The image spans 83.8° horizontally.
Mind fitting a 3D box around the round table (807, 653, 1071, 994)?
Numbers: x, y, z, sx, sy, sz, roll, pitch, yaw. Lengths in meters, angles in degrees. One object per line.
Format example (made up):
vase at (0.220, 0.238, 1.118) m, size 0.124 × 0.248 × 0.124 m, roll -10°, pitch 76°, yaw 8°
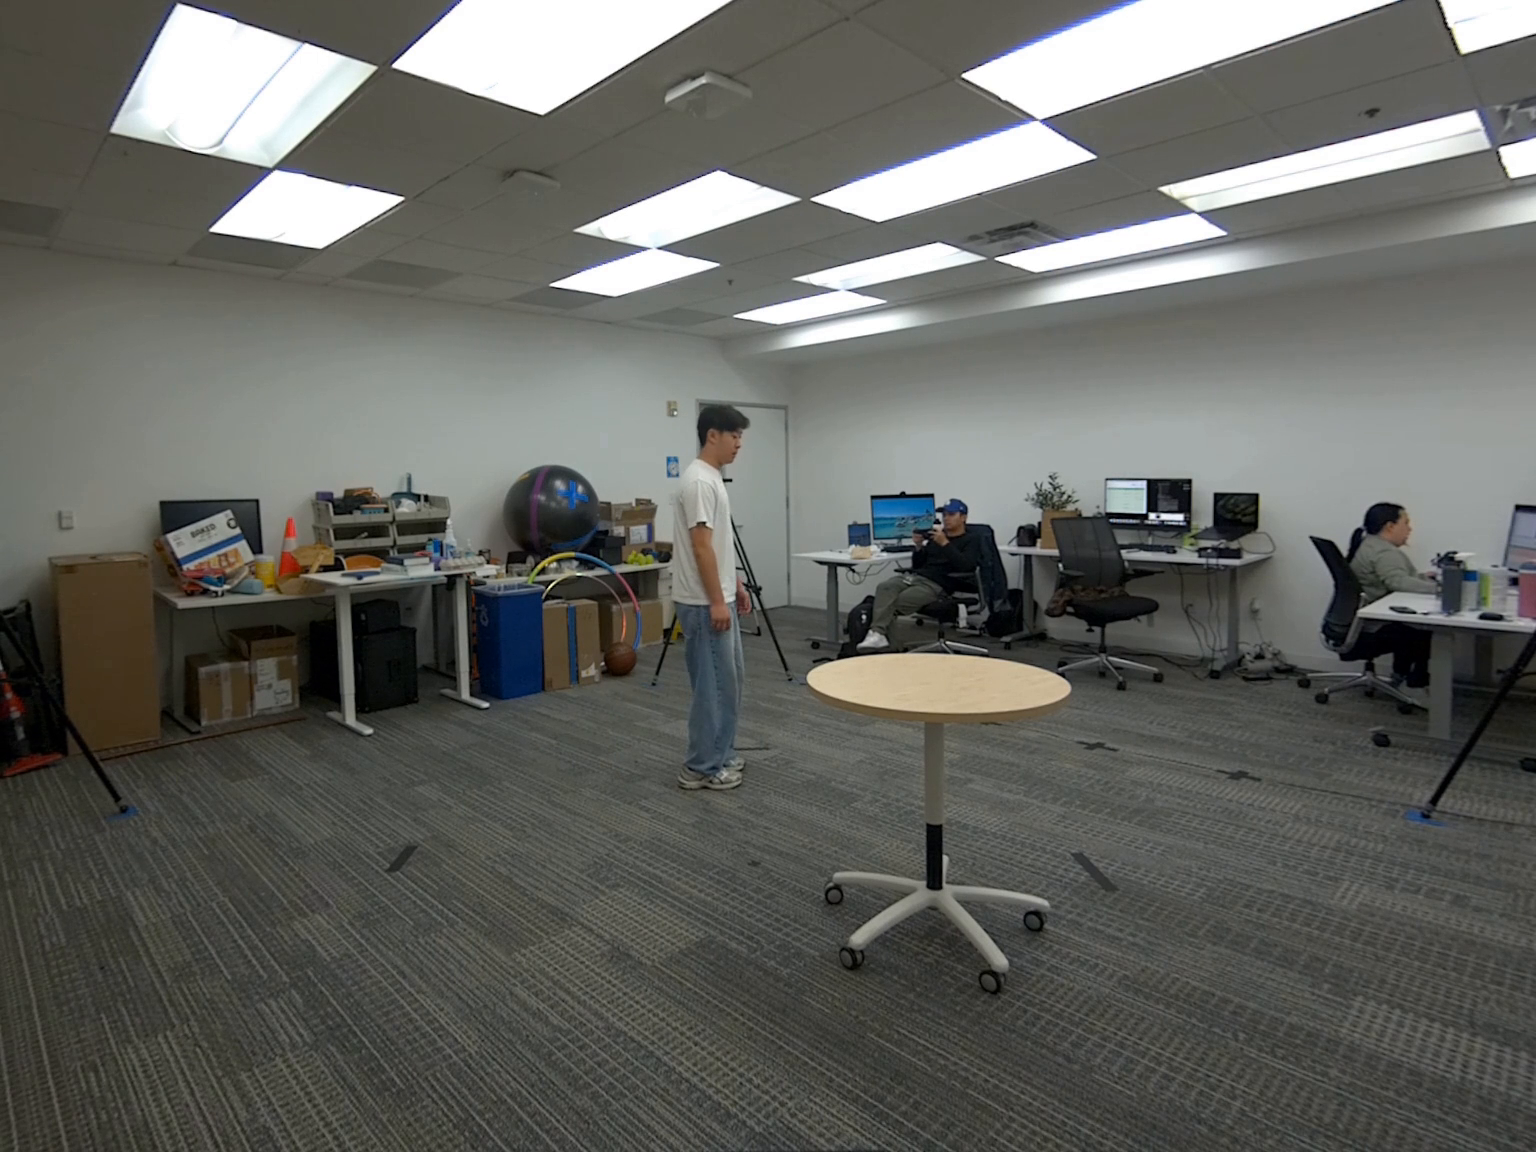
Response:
round table at (0.510, 0.706, 2.602) m, size 0.763 × 0.791 × 0.768 m, roll -1°, pitch 5°, yaw -2°
